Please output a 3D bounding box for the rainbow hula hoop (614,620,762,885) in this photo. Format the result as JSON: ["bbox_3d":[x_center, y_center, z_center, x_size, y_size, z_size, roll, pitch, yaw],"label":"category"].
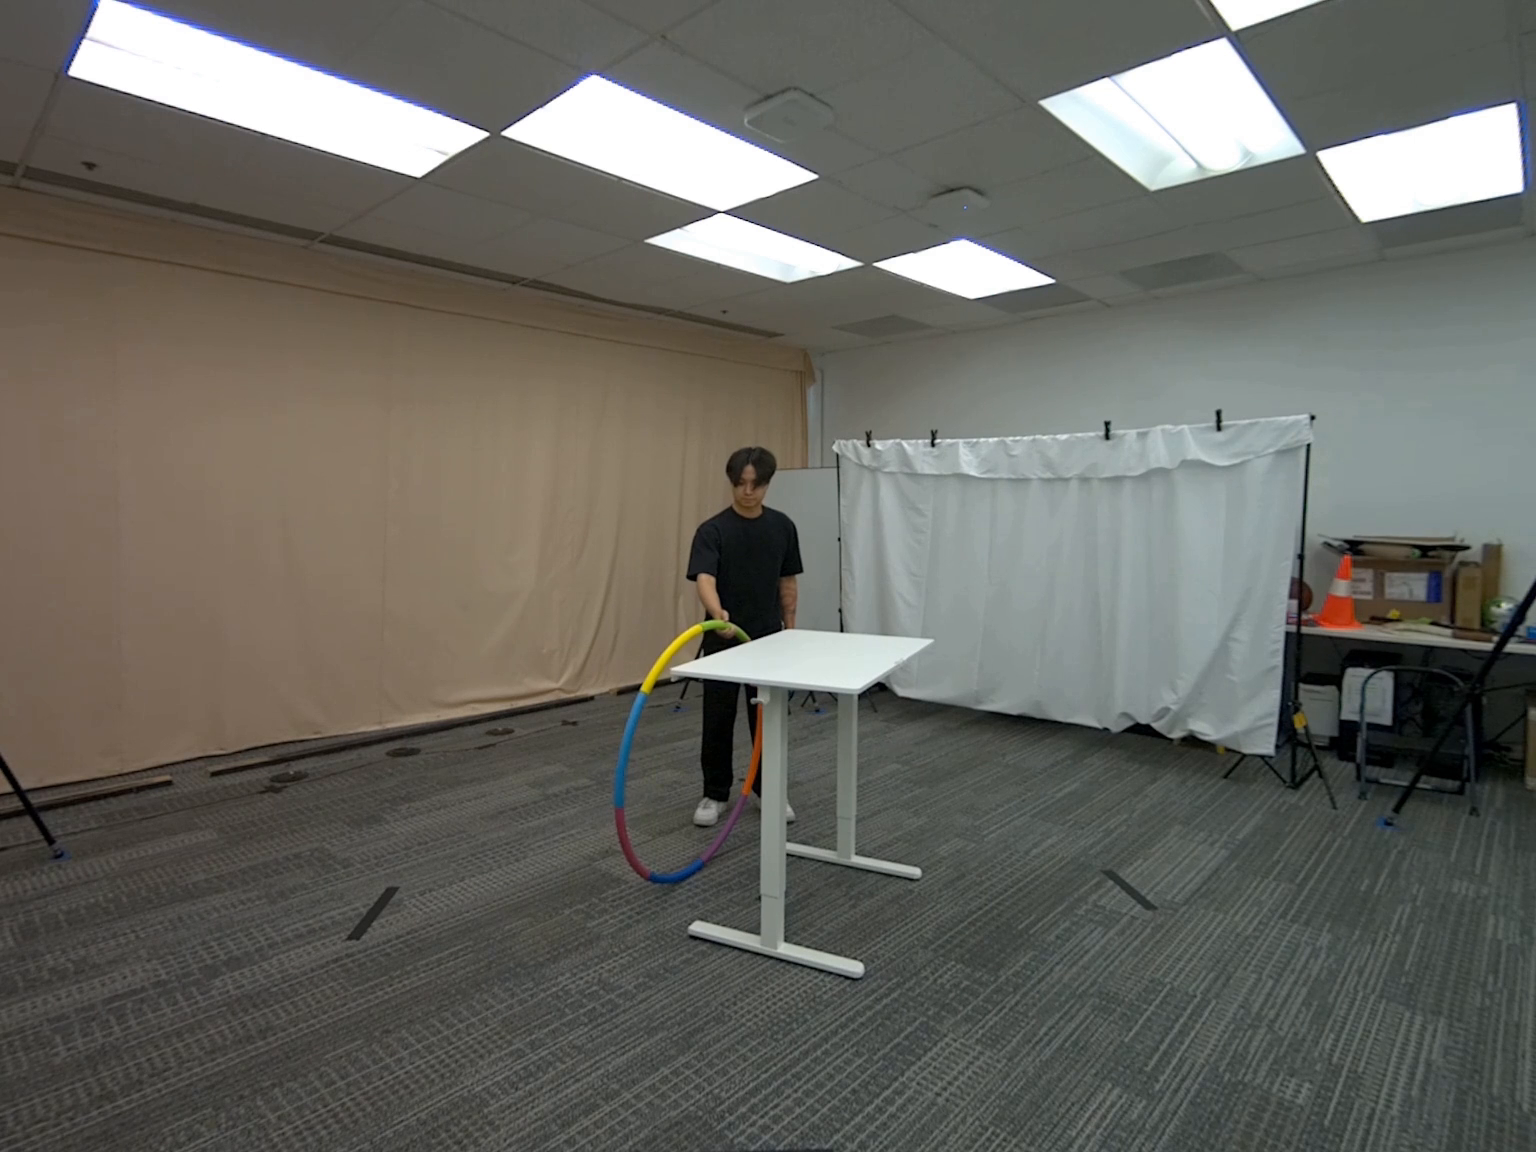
[{"bbox_3d":[-0.256,0.658,3.138,0.036,0.975,0.954,8,7,27],"label":"rainbow hula hoop"}]
